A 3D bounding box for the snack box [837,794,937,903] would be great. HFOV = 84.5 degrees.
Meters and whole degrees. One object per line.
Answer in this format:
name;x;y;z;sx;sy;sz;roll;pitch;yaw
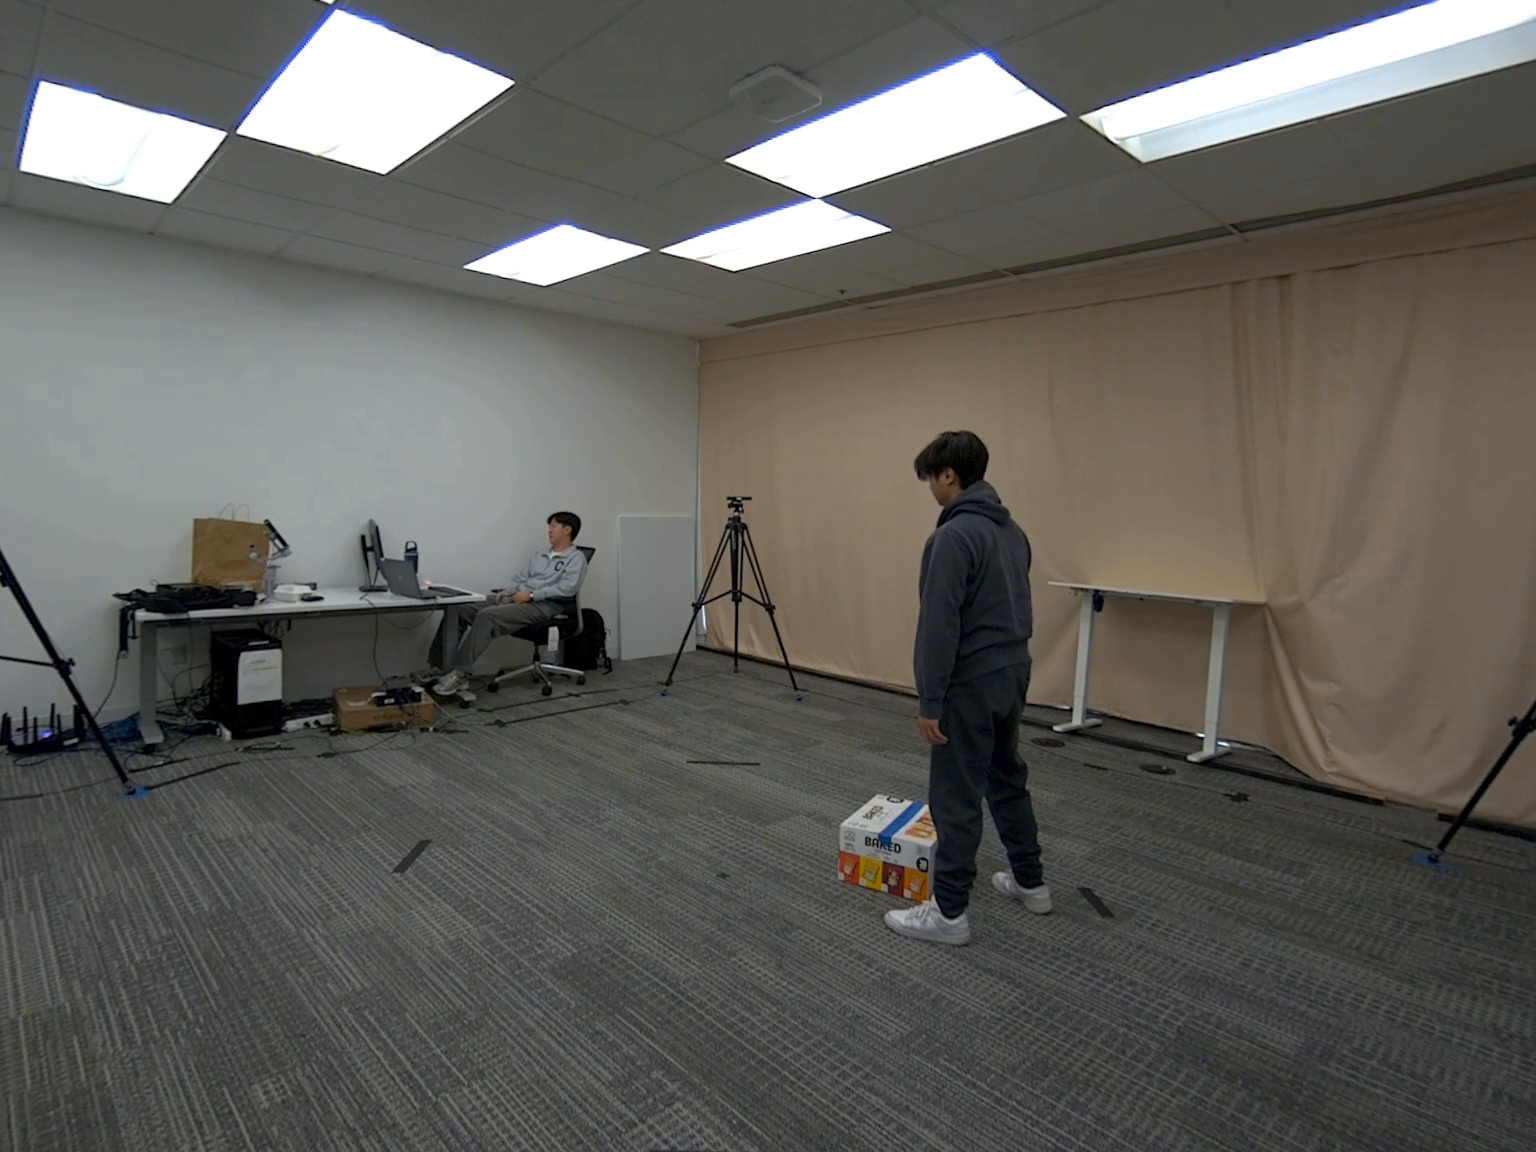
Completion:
snack box;0.494;1.013;3.173;0.348;0.205;0.397;4;5;29
